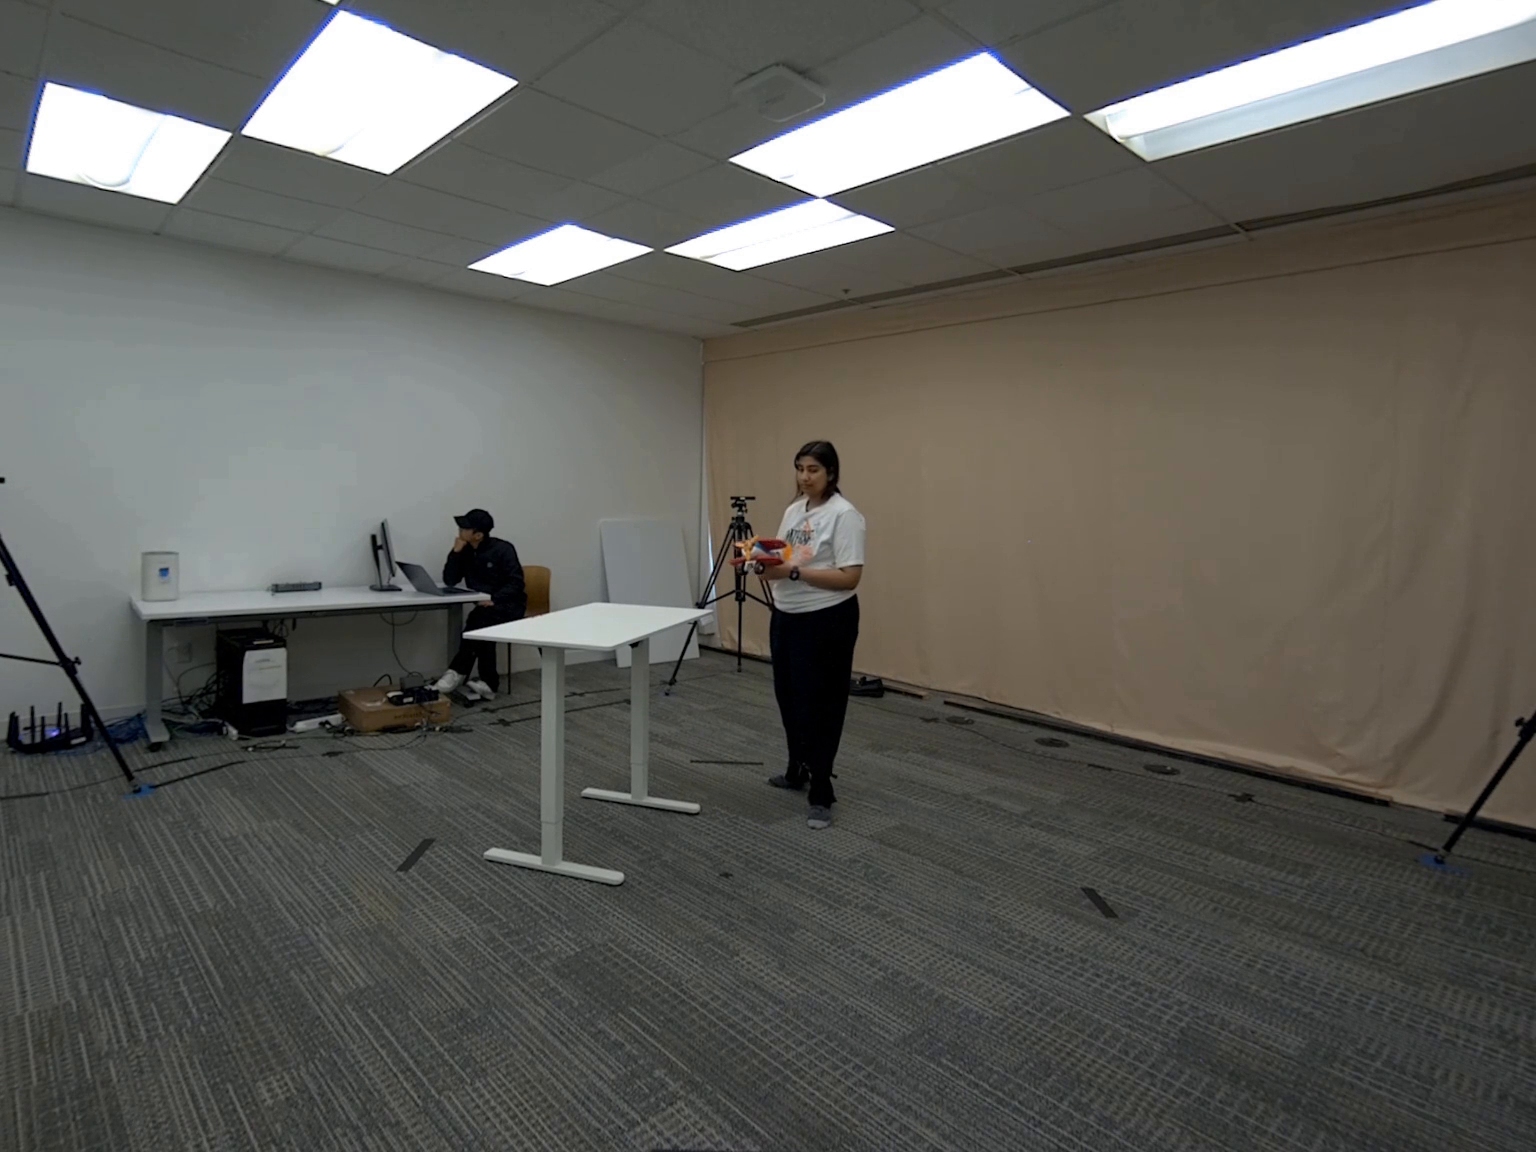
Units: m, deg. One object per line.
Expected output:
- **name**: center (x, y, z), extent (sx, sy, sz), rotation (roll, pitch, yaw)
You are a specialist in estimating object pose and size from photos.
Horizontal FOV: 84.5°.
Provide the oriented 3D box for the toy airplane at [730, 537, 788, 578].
- **toy airplane**: center (-0.053, -0.067, 3.627), extent (0.251, 0.158, 0.257), rotation (-2, -10, 1)
